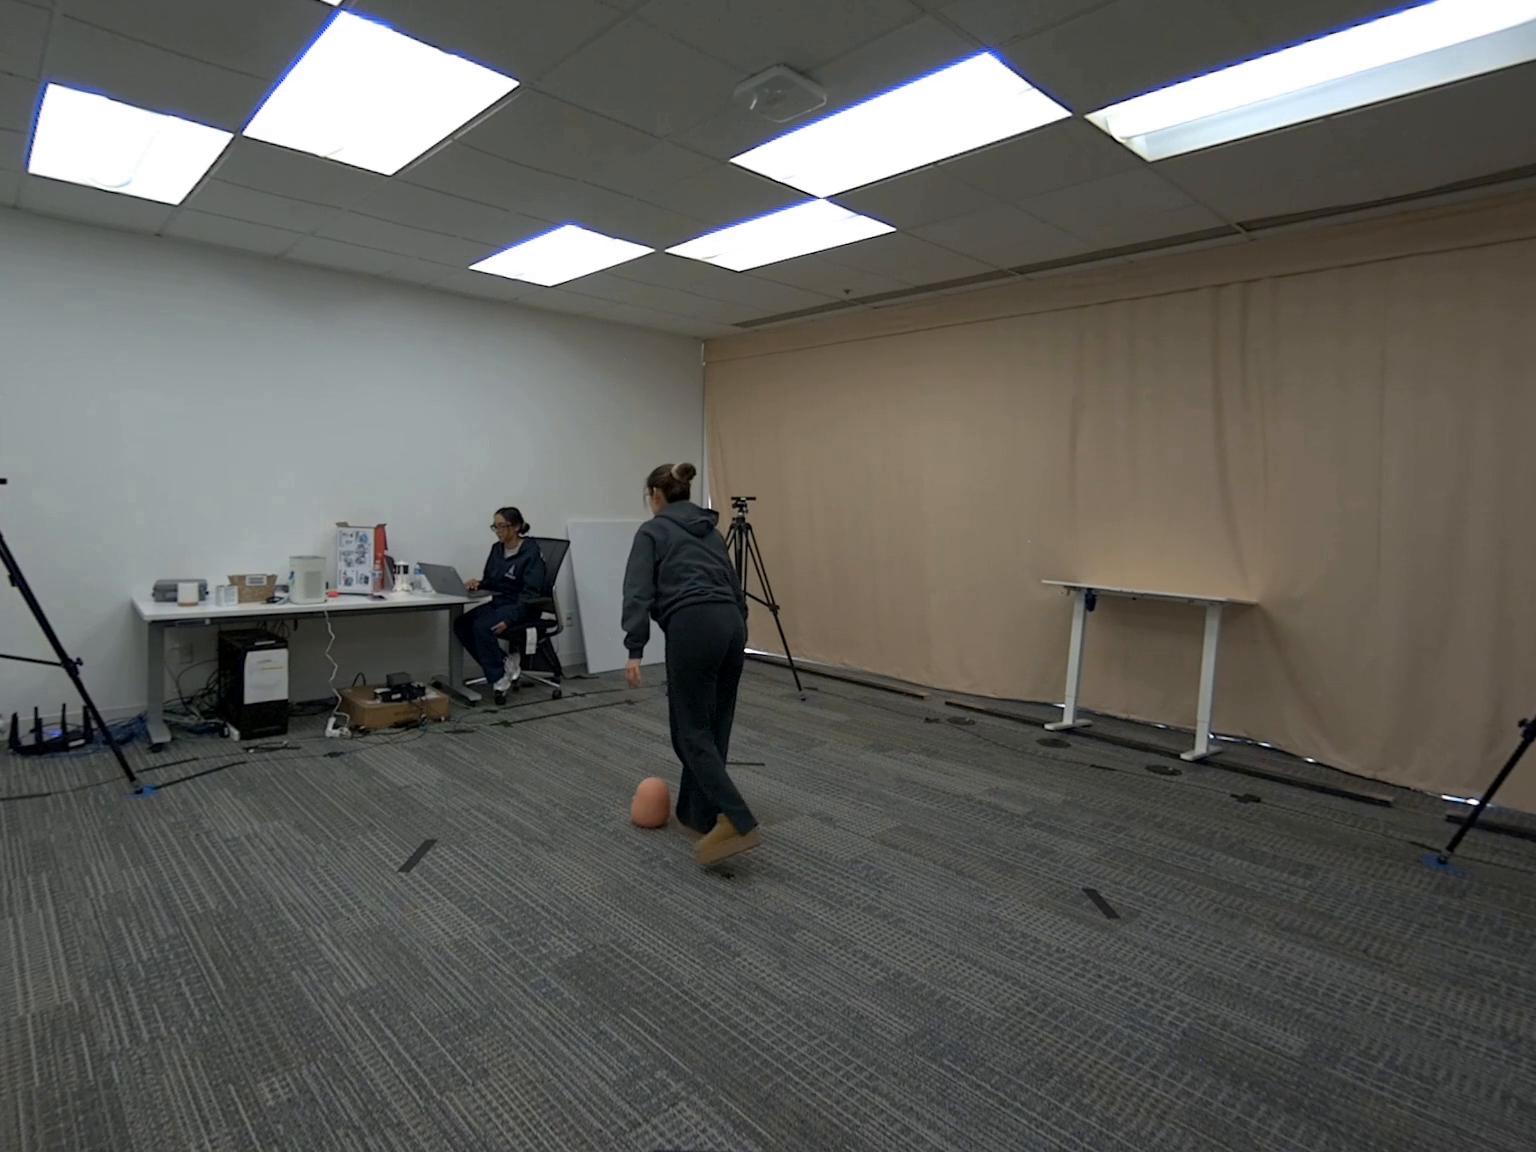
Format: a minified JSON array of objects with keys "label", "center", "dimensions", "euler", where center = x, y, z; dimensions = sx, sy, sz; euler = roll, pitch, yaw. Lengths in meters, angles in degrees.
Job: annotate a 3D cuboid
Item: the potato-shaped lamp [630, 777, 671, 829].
[{"label":"potato-shaped lamp","center":[-0.506,0.953,3.587],"dimensions":[0.176,0.197,0.161],"euler":[9,10,42]}]
